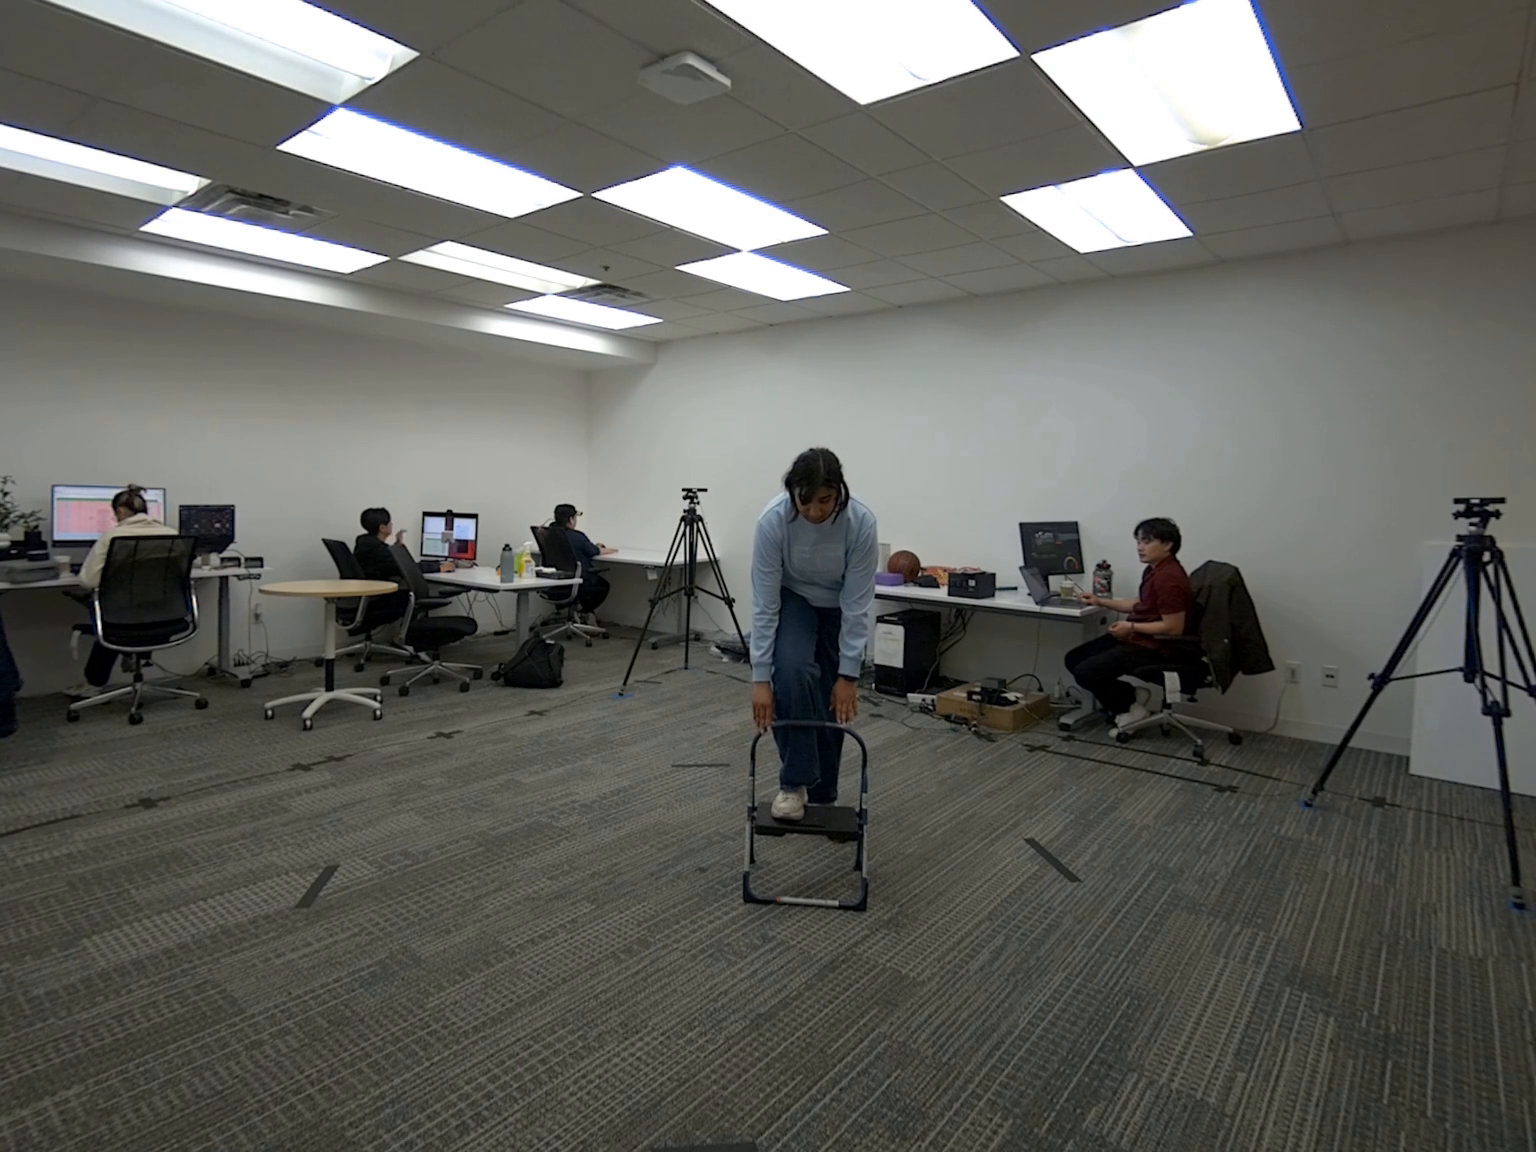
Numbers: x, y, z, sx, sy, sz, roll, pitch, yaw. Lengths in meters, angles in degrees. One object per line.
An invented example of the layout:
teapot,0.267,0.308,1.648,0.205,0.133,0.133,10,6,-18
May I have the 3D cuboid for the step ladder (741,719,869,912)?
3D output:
step ladder,0.124,0.789,2.992,0.433,0.604,0.348,1,4,5
